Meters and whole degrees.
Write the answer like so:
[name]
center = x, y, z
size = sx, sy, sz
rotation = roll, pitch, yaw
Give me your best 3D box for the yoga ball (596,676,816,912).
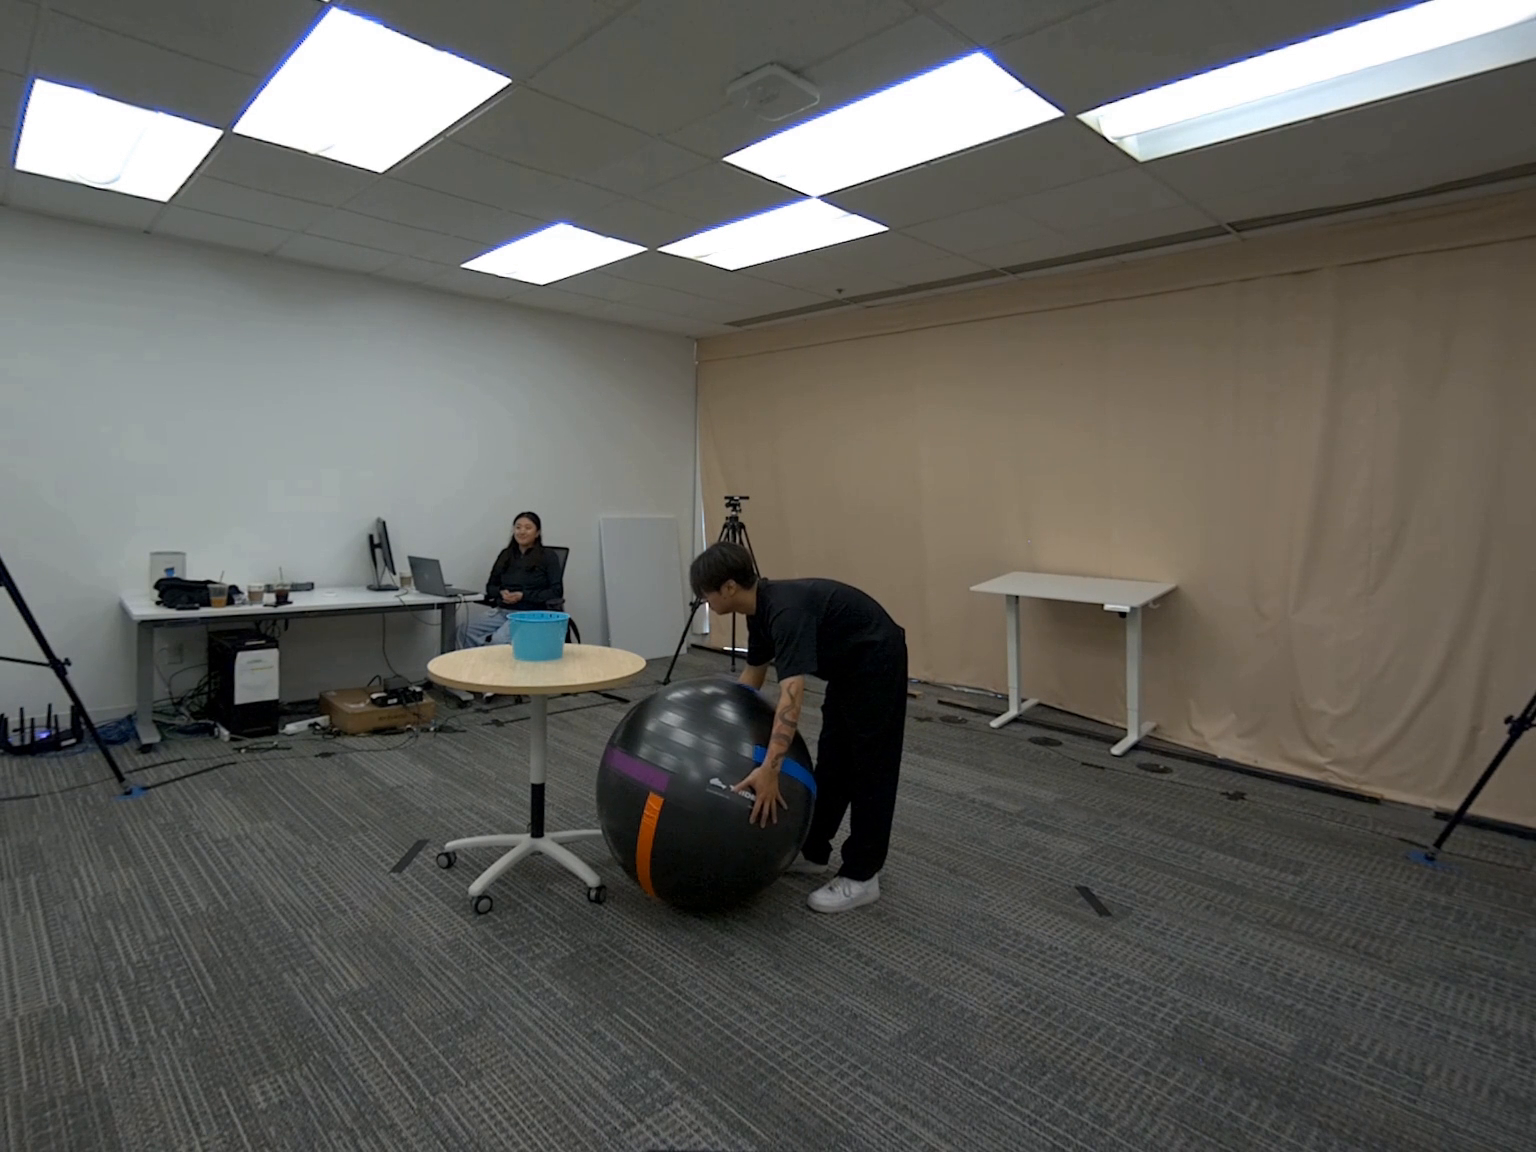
[yoga ball]
center = -0.217, 0.743, 2.916
size = 0.757, 0.756, 0.761
rotation = 1, 4, -1
